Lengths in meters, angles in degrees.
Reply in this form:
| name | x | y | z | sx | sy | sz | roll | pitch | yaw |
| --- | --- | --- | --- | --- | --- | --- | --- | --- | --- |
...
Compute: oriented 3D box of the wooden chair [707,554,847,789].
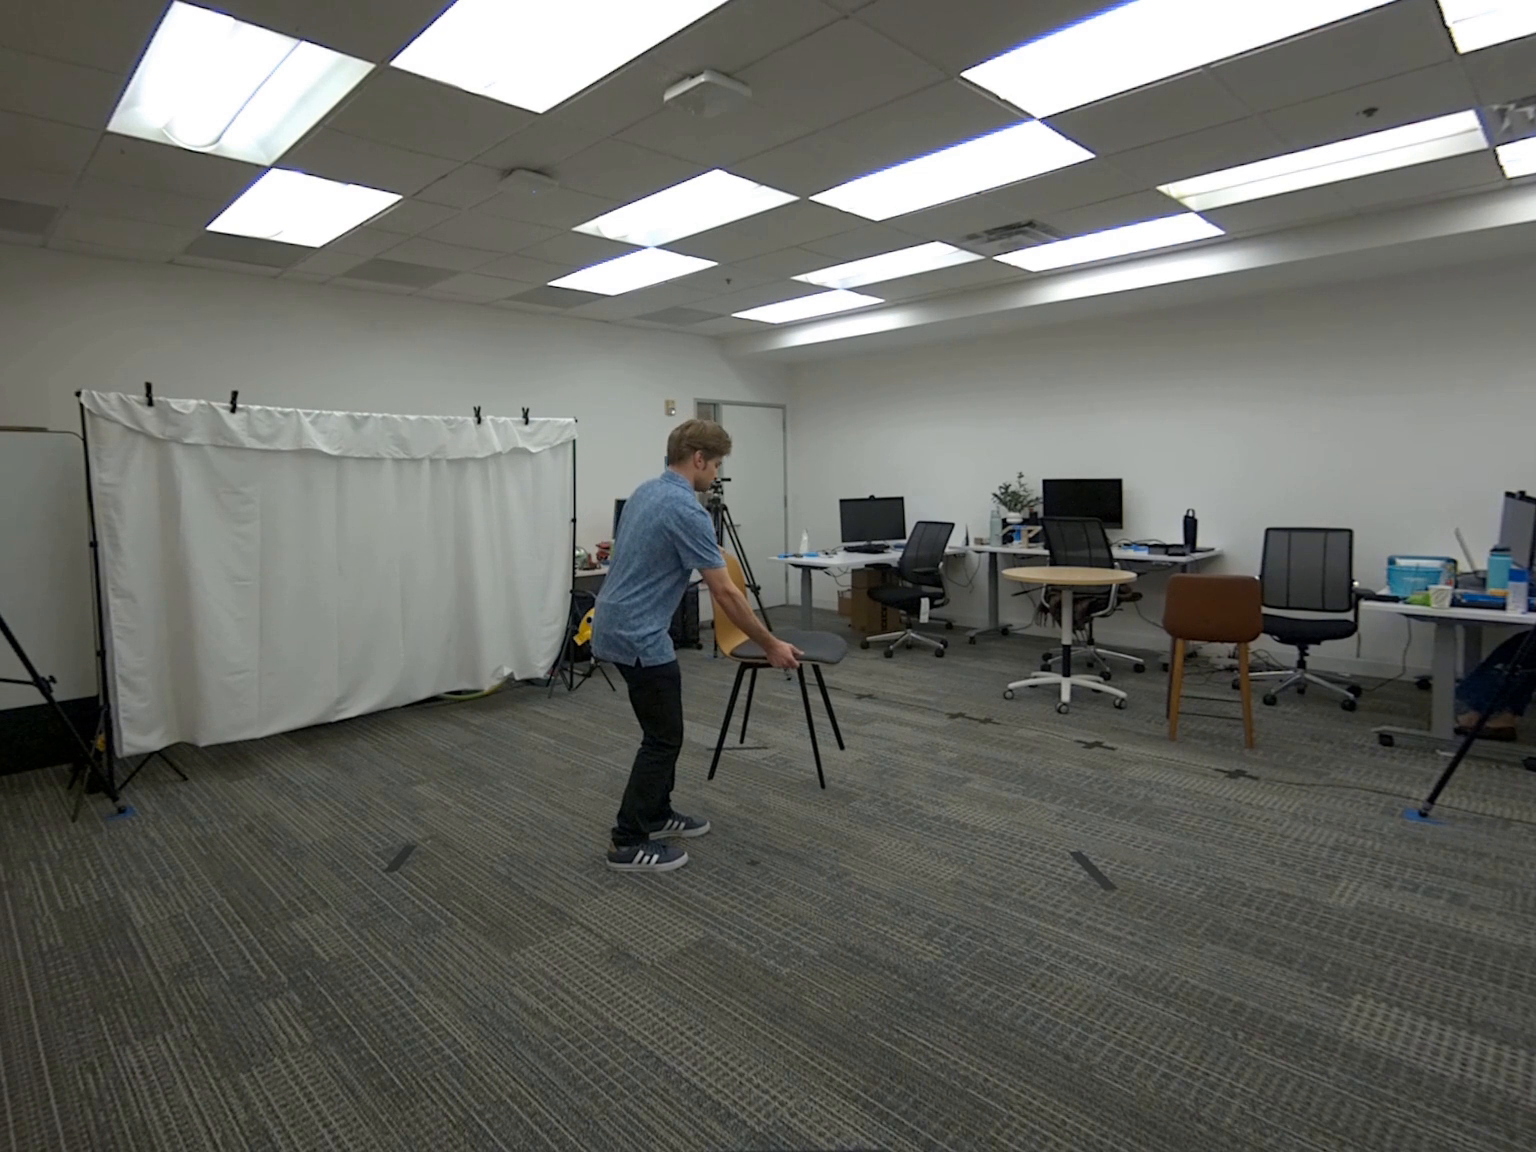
| name | x | y | z | sx | sy | sz | roll | pitch | yaw |
| --- | --- | --- | --- | --- | --- | --- | --- | --- | --- |
| wooden chair | 0.043 | 0.332 | 3.380 | 0.531 | 0.875 | 0.472 | -4 | 4 | 17 |
